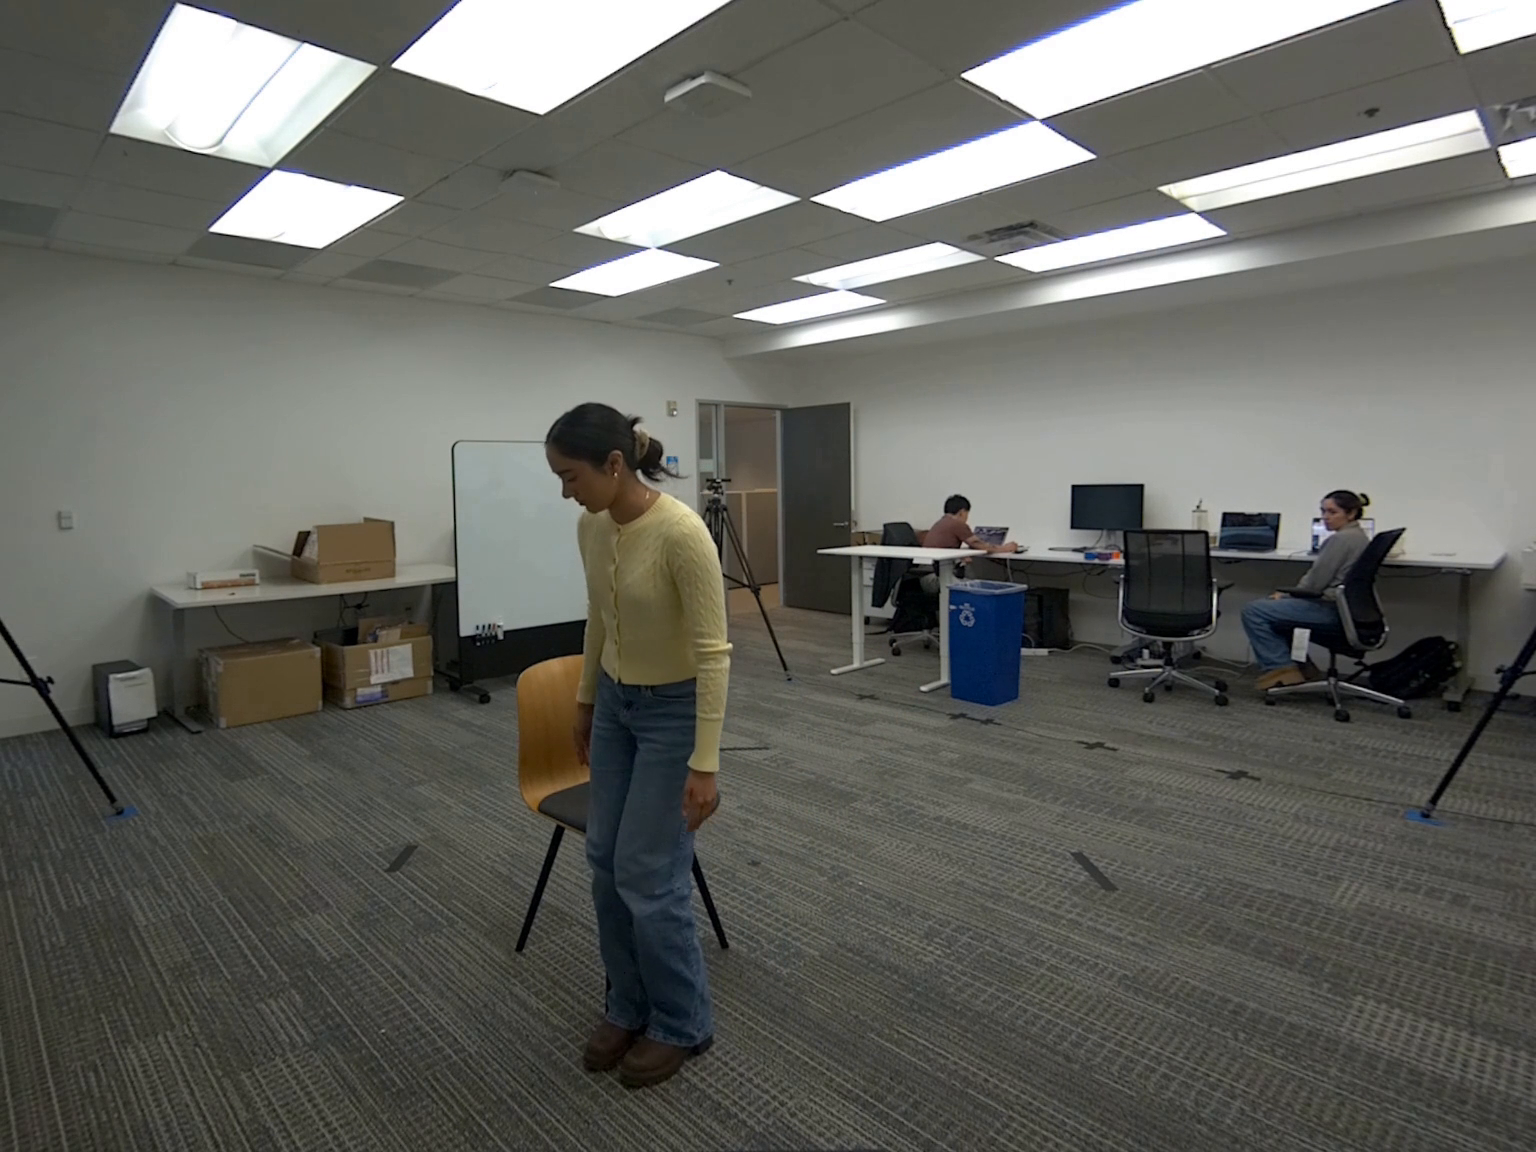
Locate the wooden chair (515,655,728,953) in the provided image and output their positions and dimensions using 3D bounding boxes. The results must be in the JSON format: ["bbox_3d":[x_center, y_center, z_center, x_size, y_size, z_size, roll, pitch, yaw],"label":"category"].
[{"bbox_3d":[-0.434,0.694,2.514,0.538,0.876,0.465,-3,2,43],"label":"wooden chair"}]
